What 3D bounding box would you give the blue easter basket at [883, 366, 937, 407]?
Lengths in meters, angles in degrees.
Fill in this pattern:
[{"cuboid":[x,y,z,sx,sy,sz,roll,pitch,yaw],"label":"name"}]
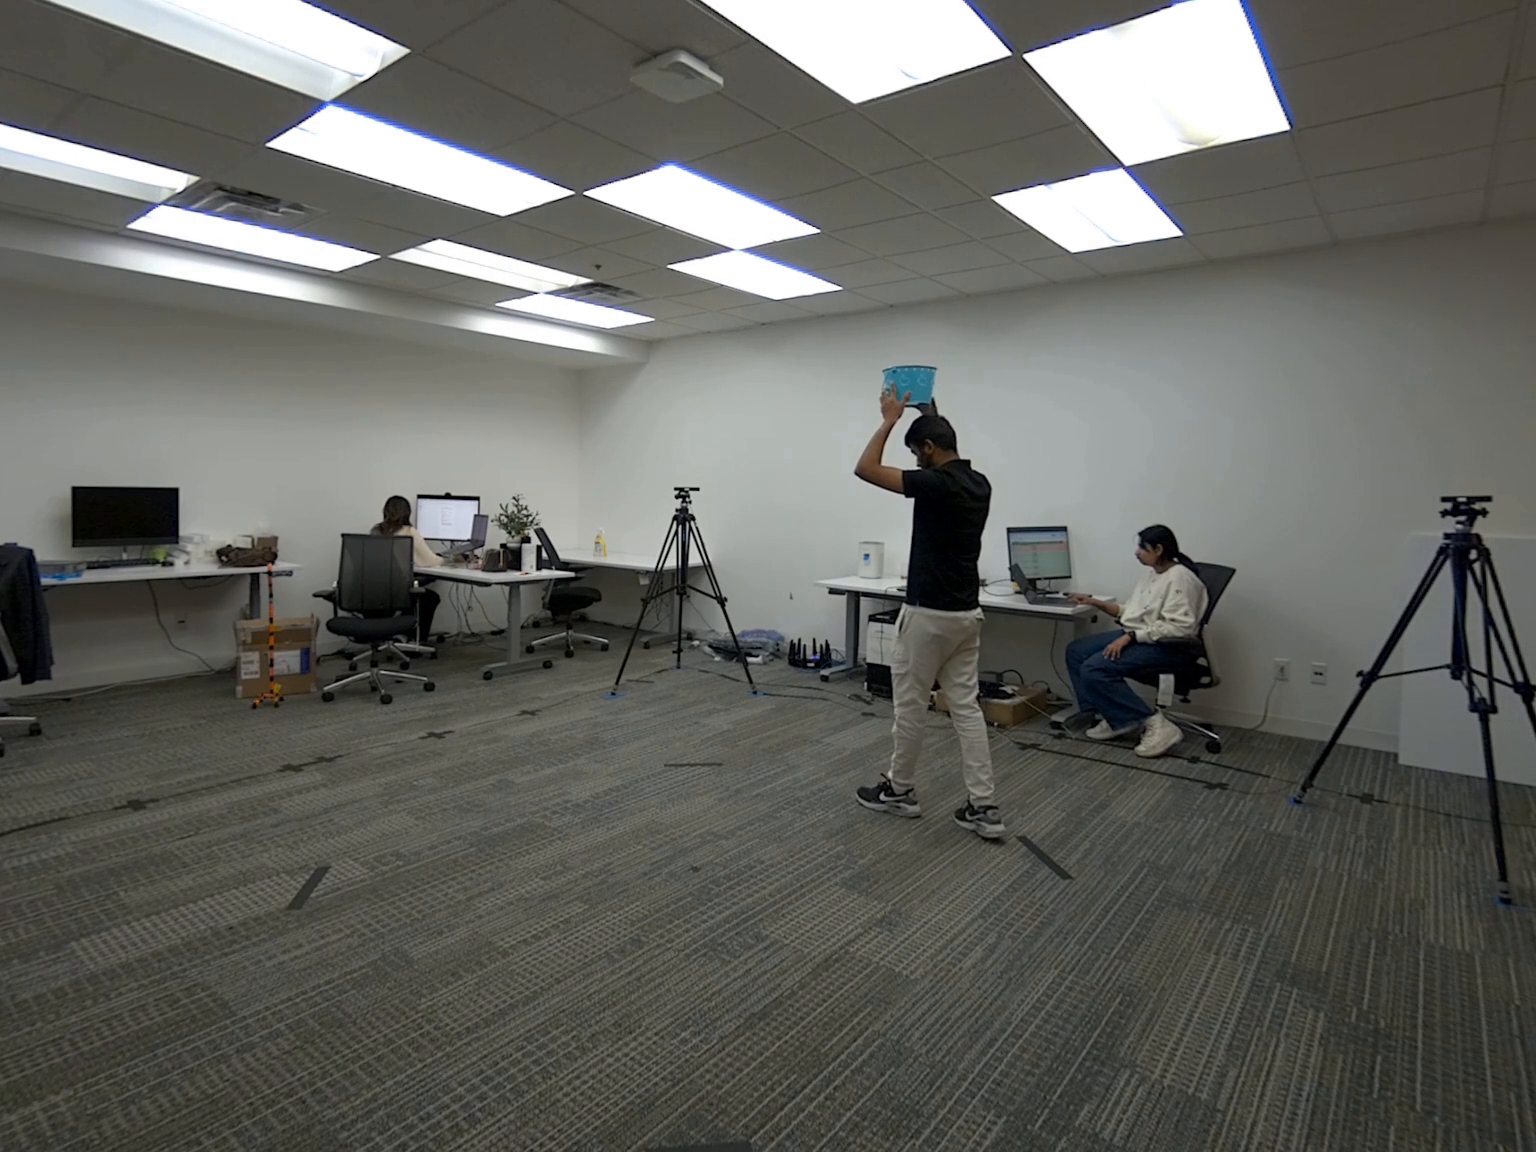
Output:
[{"cuboid":[0.622,-0.829,3.687,0.243,0.155,0.245,0,5,-2],"label":"blue easter basket"}]
